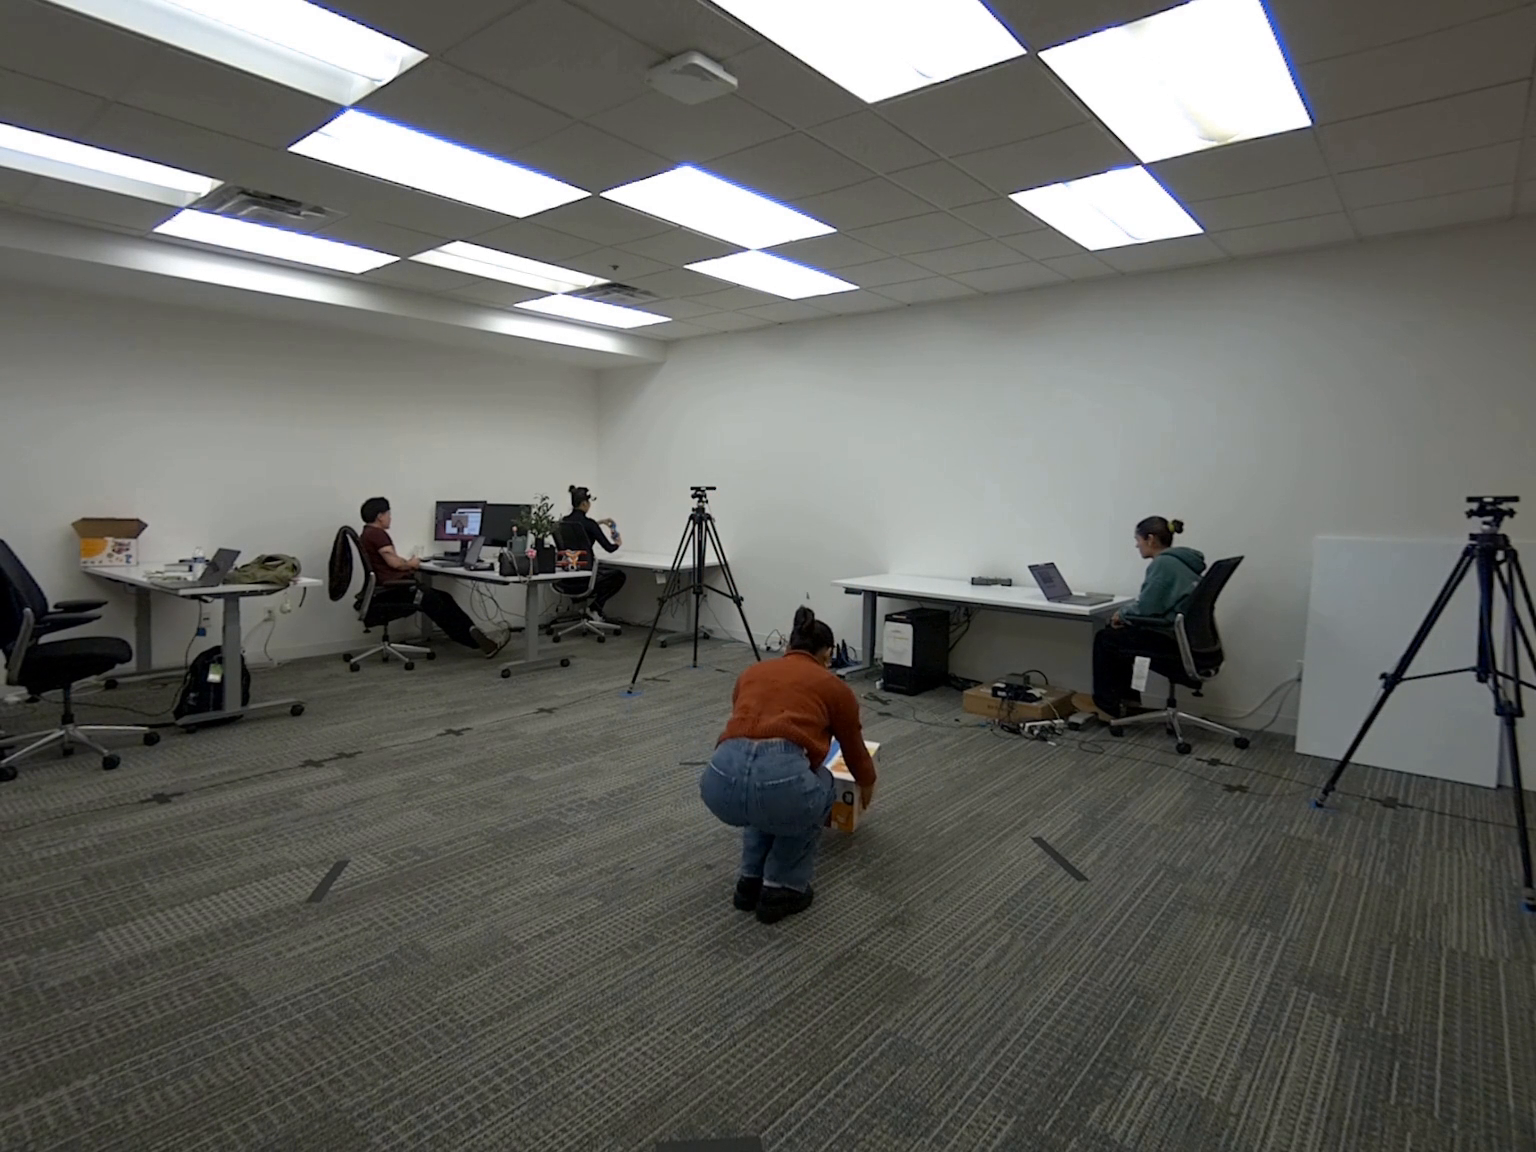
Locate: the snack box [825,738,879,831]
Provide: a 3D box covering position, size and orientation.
[{"bbox_3d":[0.227,0.806,3.396,0.349,0.204,0.399,4,10,22],"label":"snack box"}]
